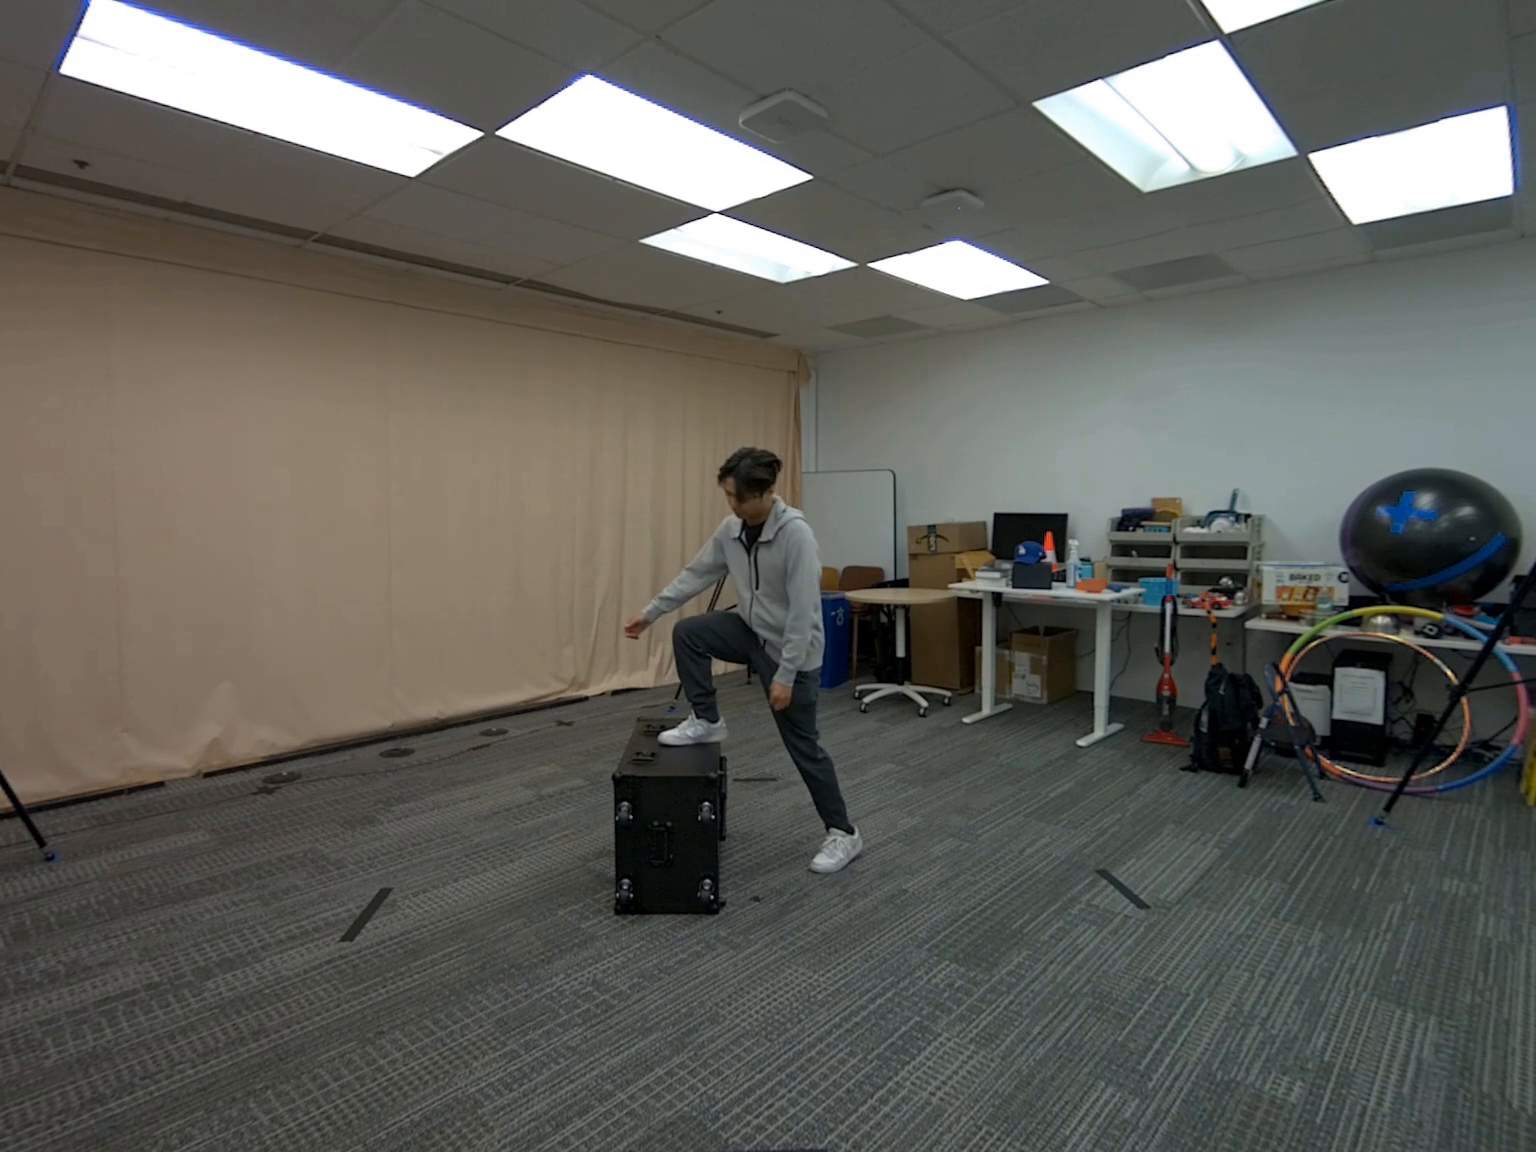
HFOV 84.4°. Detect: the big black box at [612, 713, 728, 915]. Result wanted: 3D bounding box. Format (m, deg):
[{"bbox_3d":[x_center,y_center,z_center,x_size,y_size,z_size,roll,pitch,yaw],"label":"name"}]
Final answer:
[{"bbox_3d":[-0.348,0.886,3.212,0.396,0.520,0.863,0,4,-1],"label":"big black box"}]
